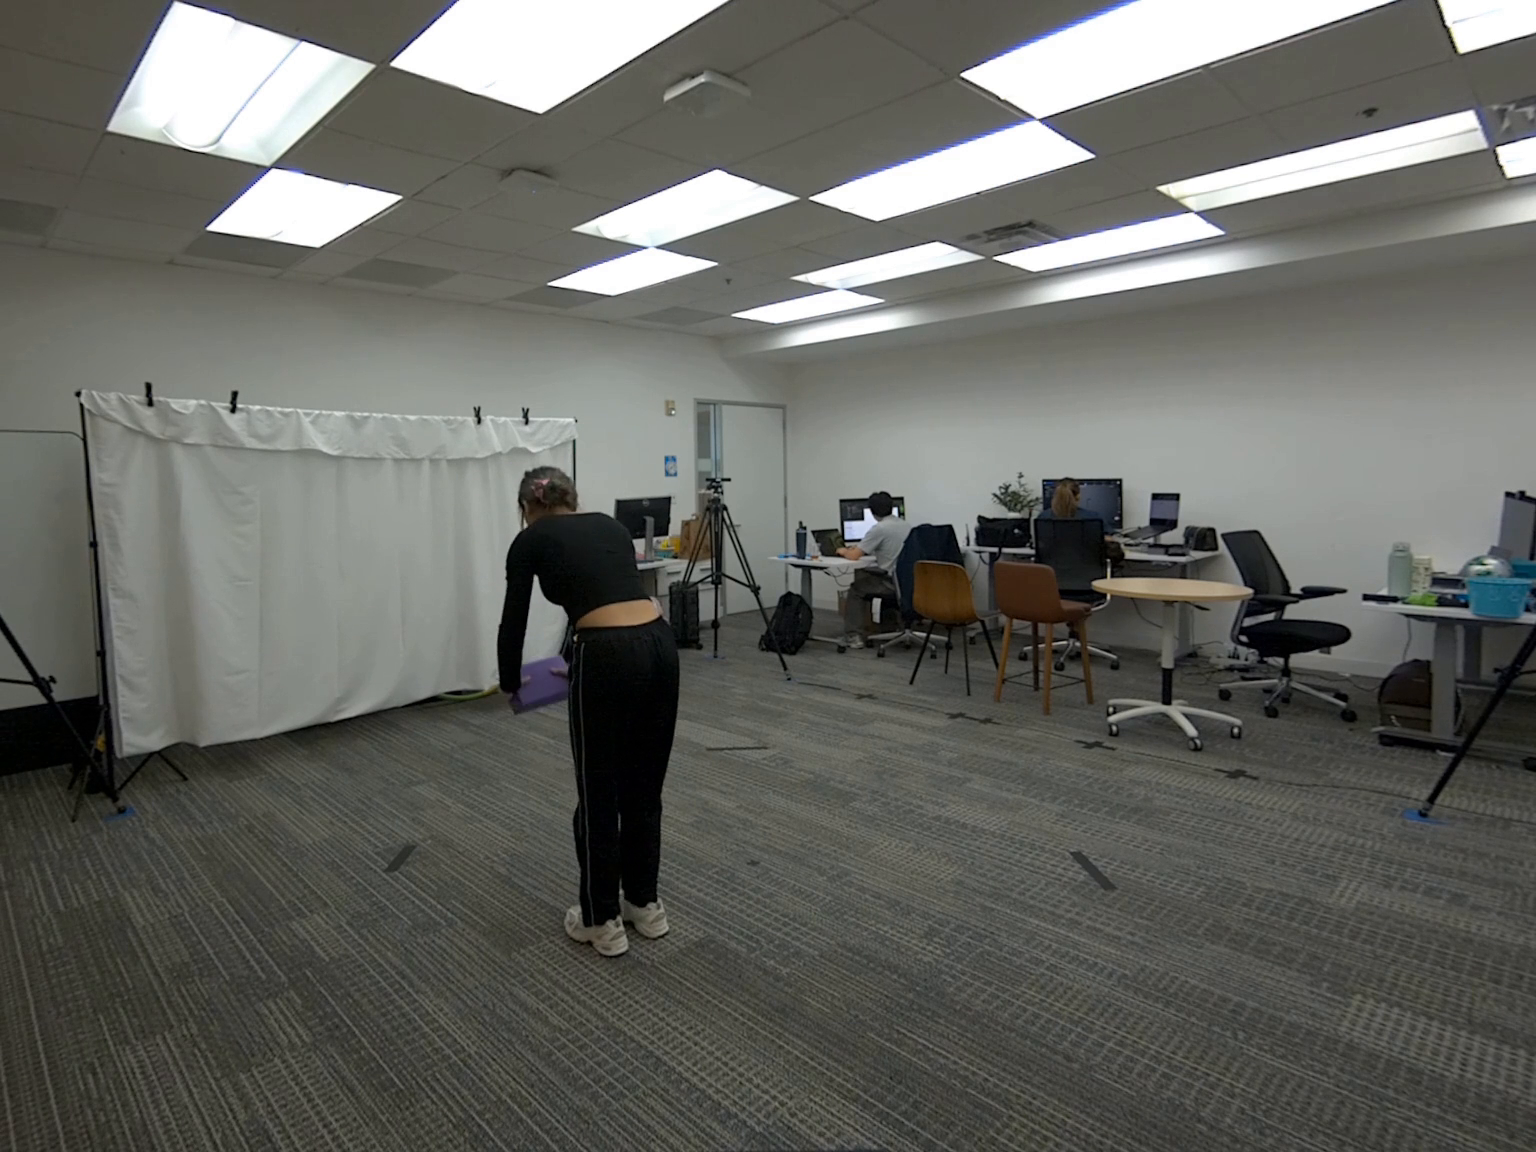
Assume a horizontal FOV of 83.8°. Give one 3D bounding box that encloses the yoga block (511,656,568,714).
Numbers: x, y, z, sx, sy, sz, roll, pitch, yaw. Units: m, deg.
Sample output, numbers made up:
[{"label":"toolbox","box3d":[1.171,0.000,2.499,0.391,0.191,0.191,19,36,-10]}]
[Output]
[{"label":"yoga block","box3d":[-0.781,0.366,2.922,0.224,0.152,0.076,-12,-26,-42]}]
